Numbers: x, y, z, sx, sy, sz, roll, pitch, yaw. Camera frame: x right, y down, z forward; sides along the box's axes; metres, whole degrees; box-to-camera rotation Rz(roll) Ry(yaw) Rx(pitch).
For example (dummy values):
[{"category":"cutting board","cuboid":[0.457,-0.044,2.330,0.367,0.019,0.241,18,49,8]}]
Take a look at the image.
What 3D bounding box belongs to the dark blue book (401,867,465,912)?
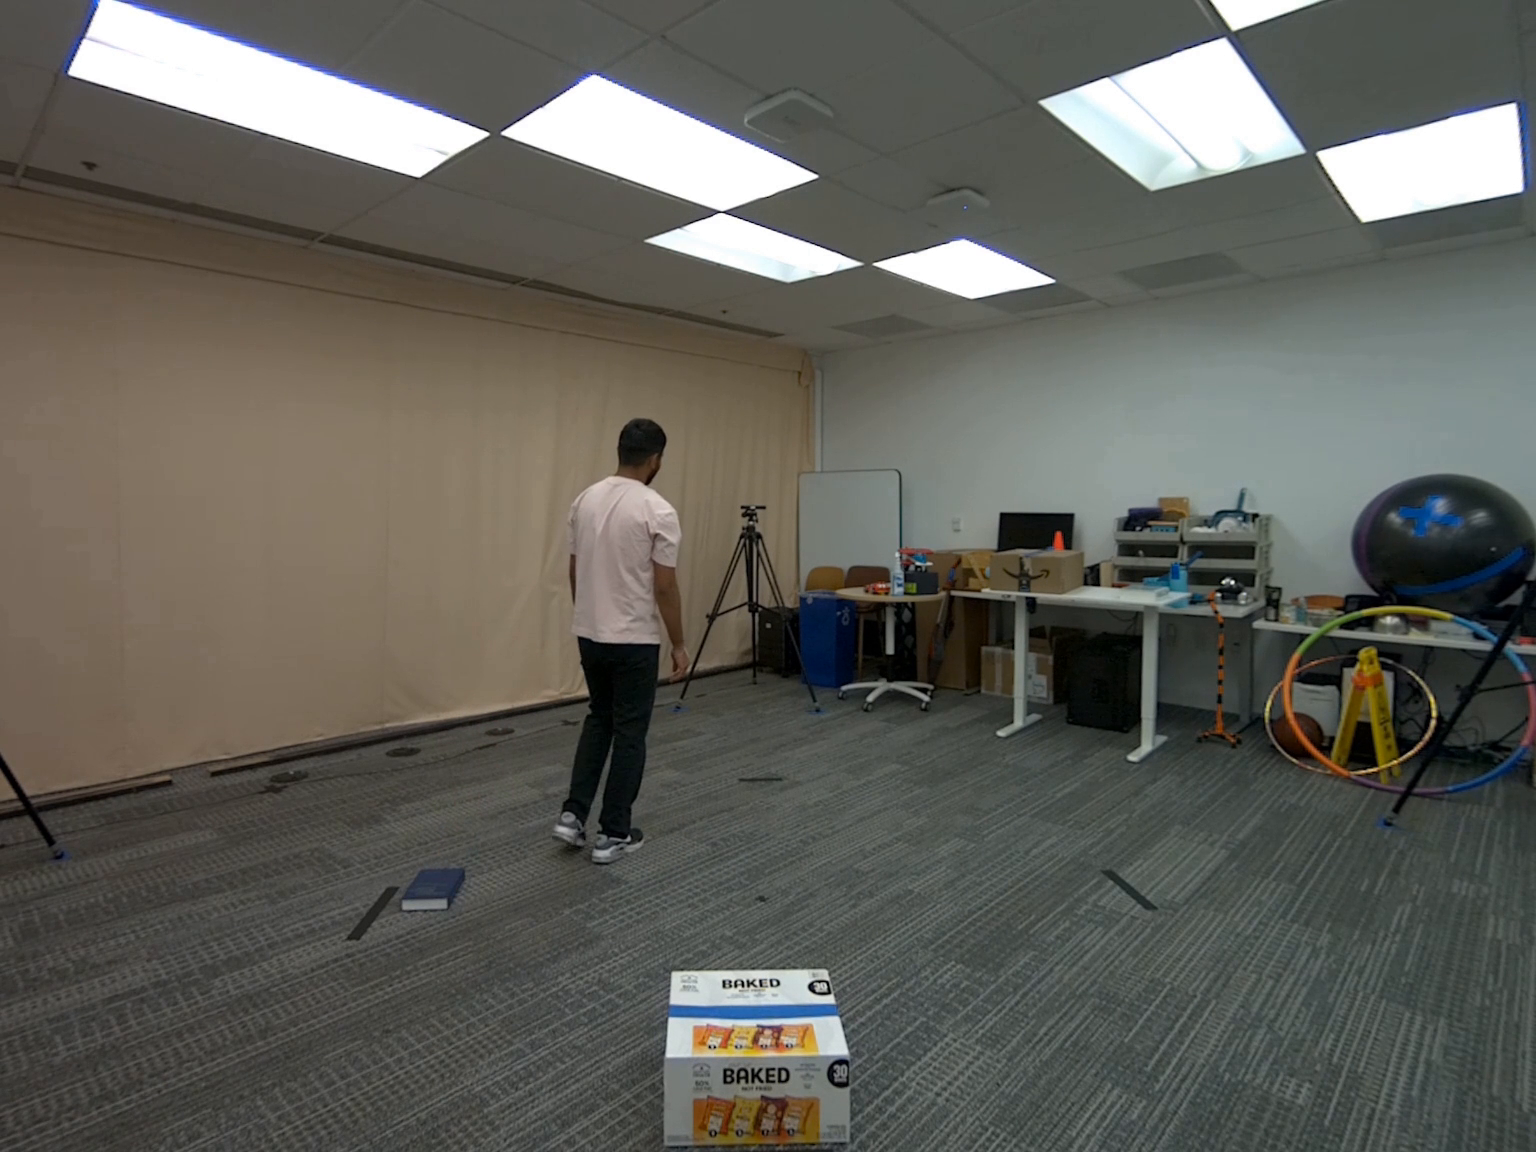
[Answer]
[{"category":"dark blue book","cuboid":[-1.206,1.130,3.034,0.162,0.045,0.247,-2,5,-6]}]
